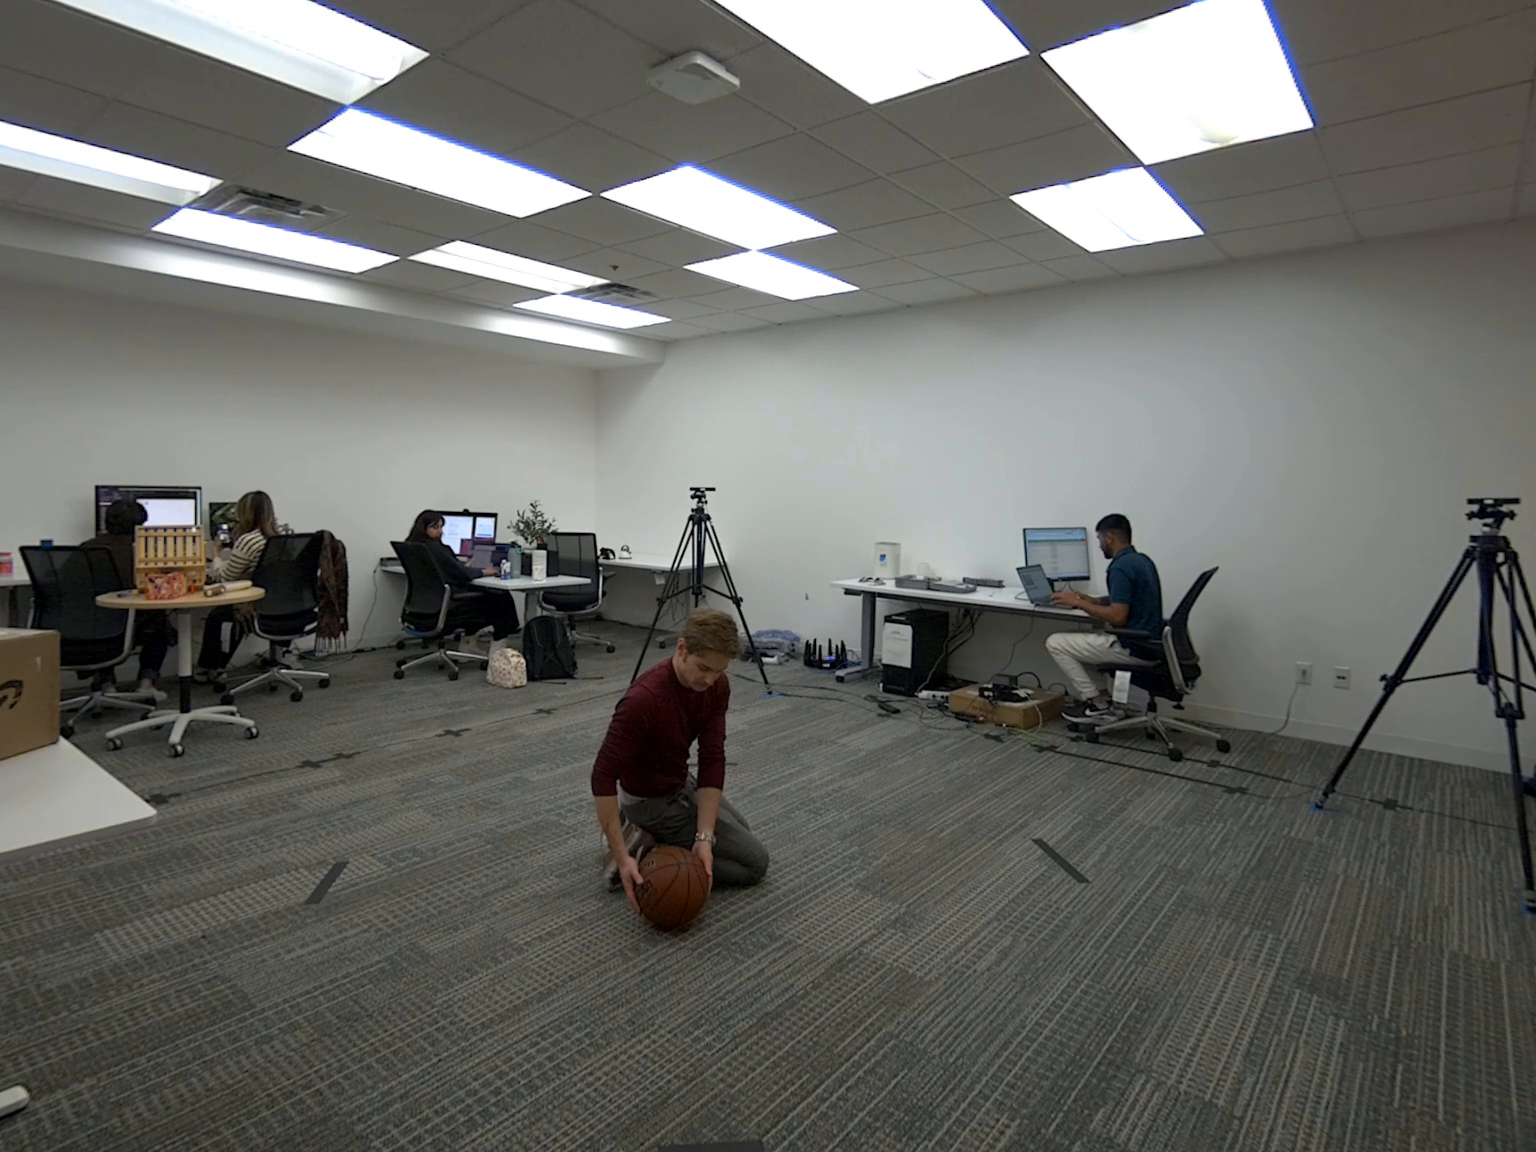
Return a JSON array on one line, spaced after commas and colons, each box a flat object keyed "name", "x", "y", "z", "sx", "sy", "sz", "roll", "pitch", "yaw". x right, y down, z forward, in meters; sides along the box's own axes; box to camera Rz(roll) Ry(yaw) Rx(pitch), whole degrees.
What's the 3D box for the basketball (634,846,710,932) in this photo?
[{"name": "basketball", "x": -0.302, "y": 0.984, "z": 2.708, "sx": 0.235, "sy": 0.235, "sz": 0.237, "roll": 1, "pitch": 4, "yaw": -2}]
